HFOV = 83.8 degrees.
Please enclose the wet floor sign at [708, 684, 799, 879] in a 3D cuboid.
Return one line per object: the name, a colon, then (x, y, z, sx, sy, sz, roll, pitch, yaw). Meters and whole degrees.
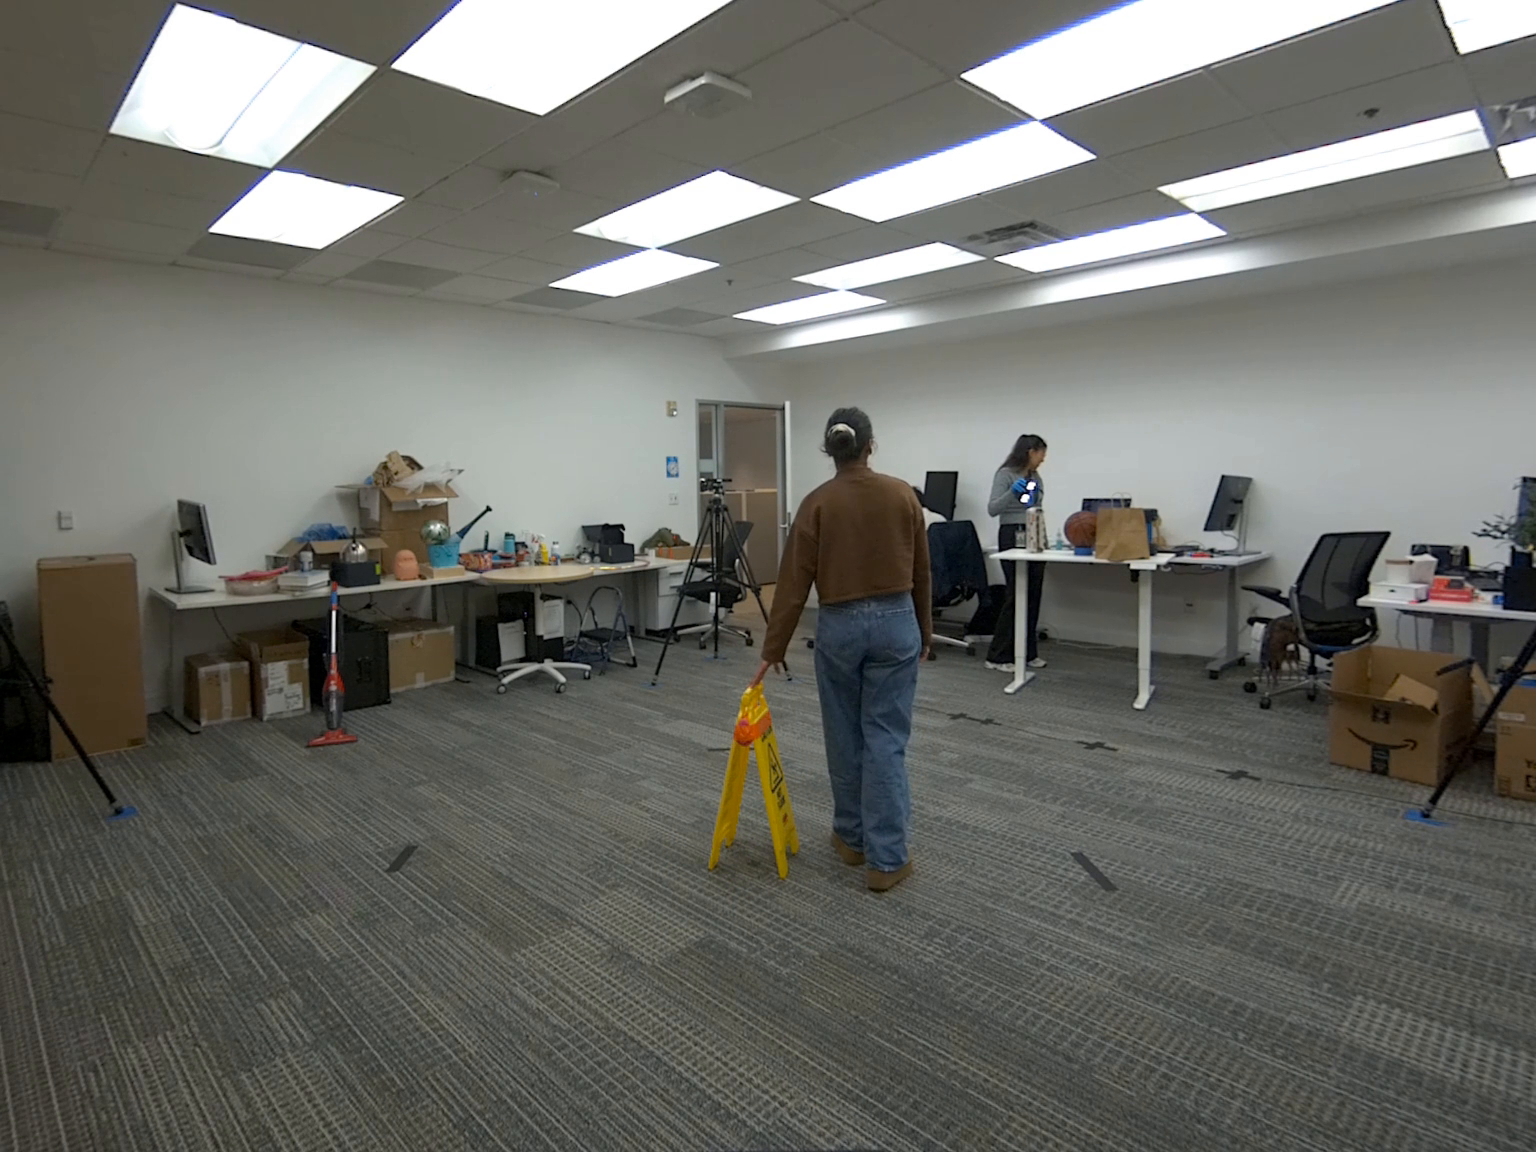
wet floor sign: (-0.051, 0.716, 3.128, 0.294, 0.645, 0.278, -1, 3, 17)
